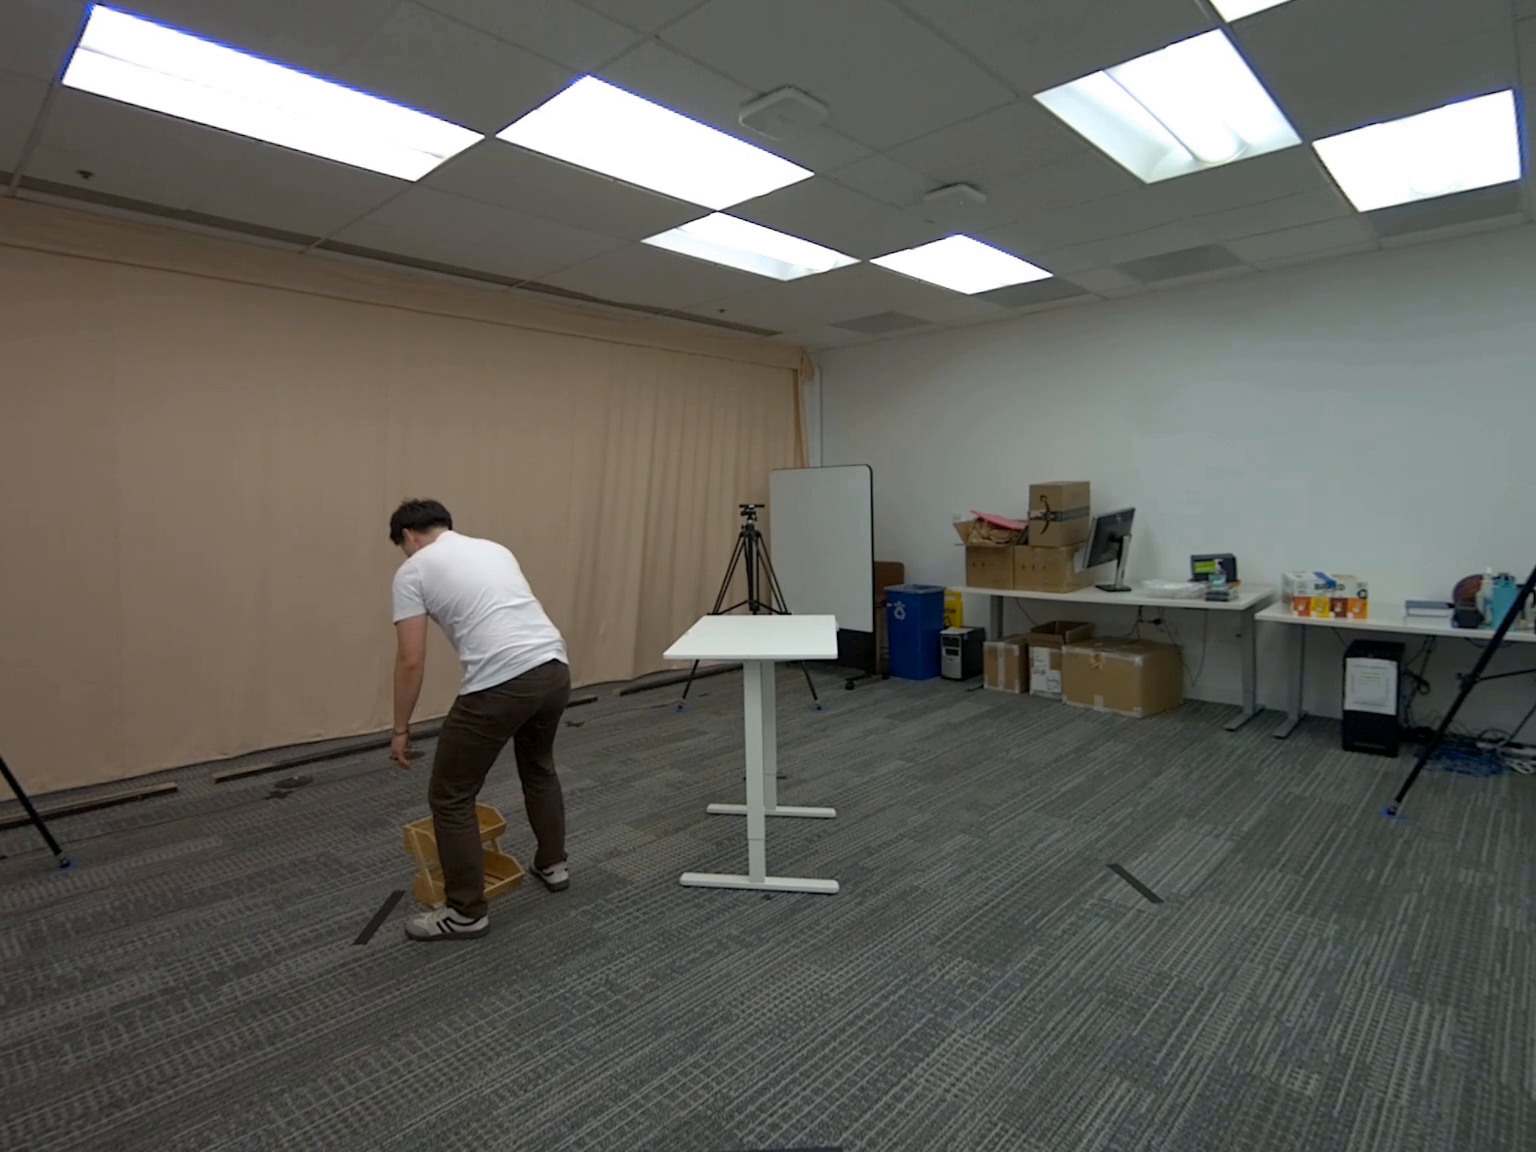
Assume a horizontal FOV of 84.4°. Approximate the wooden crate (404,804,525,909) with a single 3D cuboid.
[{"bbox_3d":[-1.113,1.024,3.088,0.311,0.273,0.315,1,4,34],"label":"wooden crate"}]
